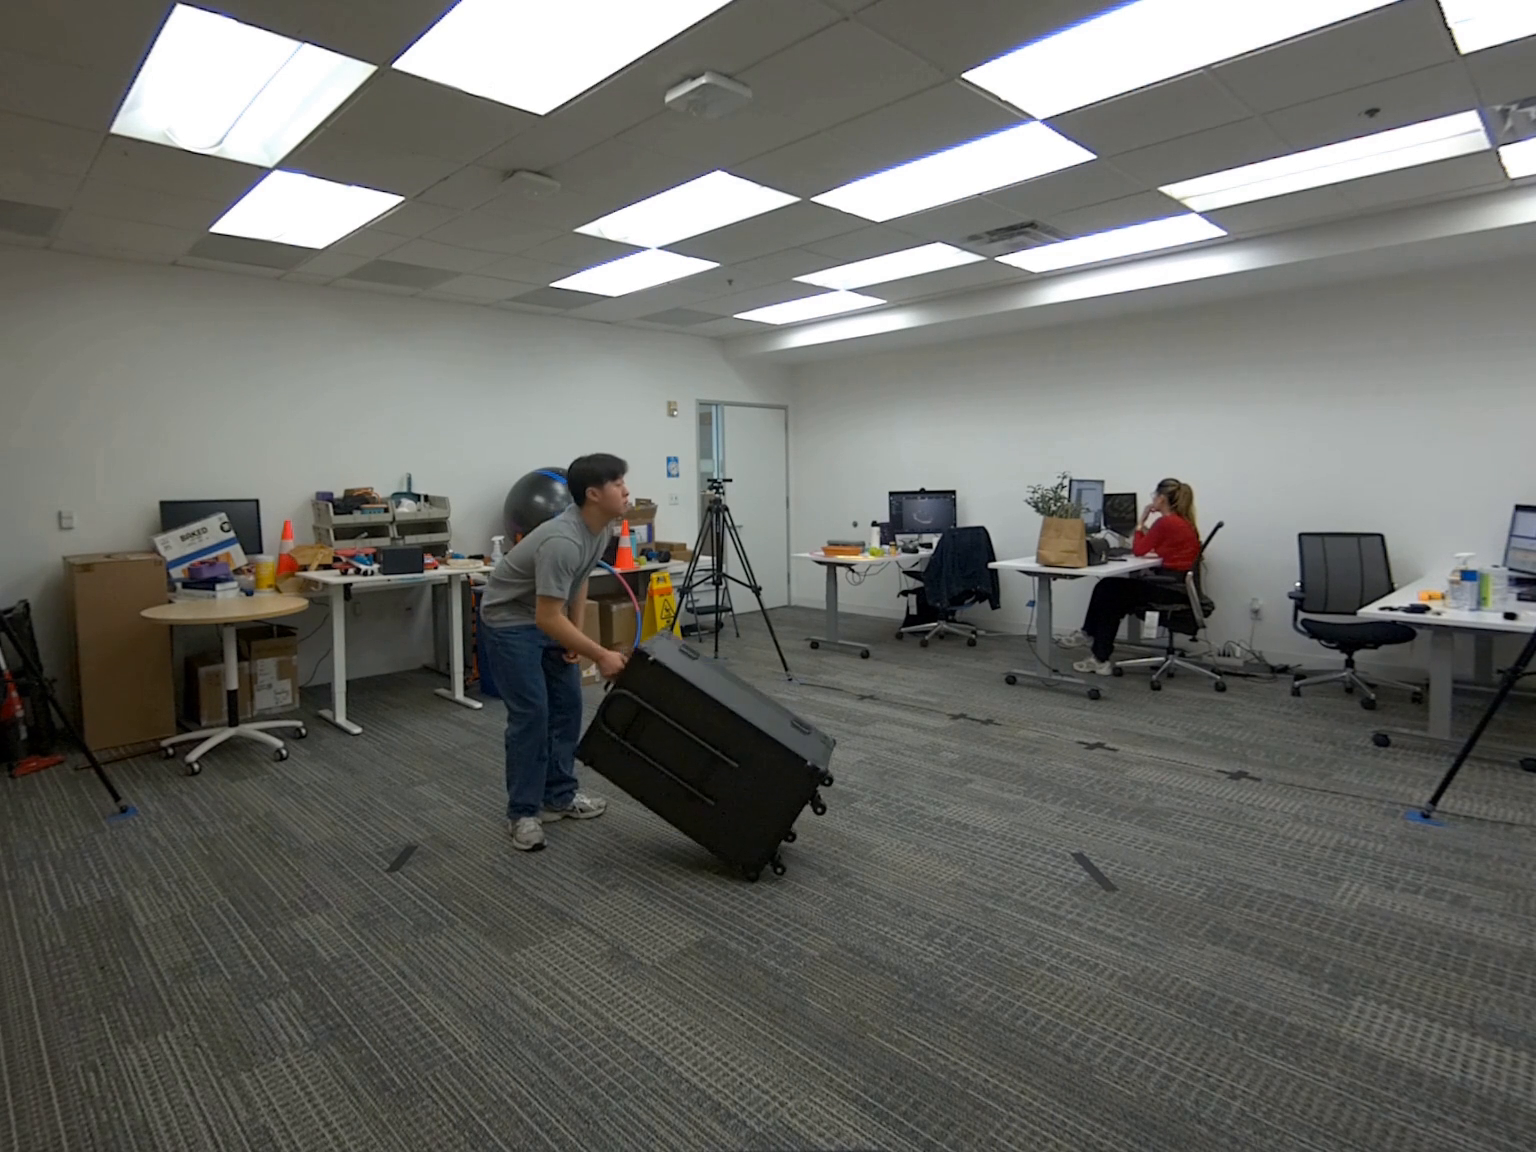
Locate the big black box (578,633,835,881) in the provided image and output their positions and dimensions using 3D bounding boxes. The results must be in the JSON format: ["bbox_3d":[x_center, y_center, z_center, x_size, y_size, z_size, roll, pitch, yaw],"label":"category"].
[{"bbox_3d":[-0.246,0.632,3.133,0.871,0.519,0.393,33,11,8],"label":"big black box"}]
